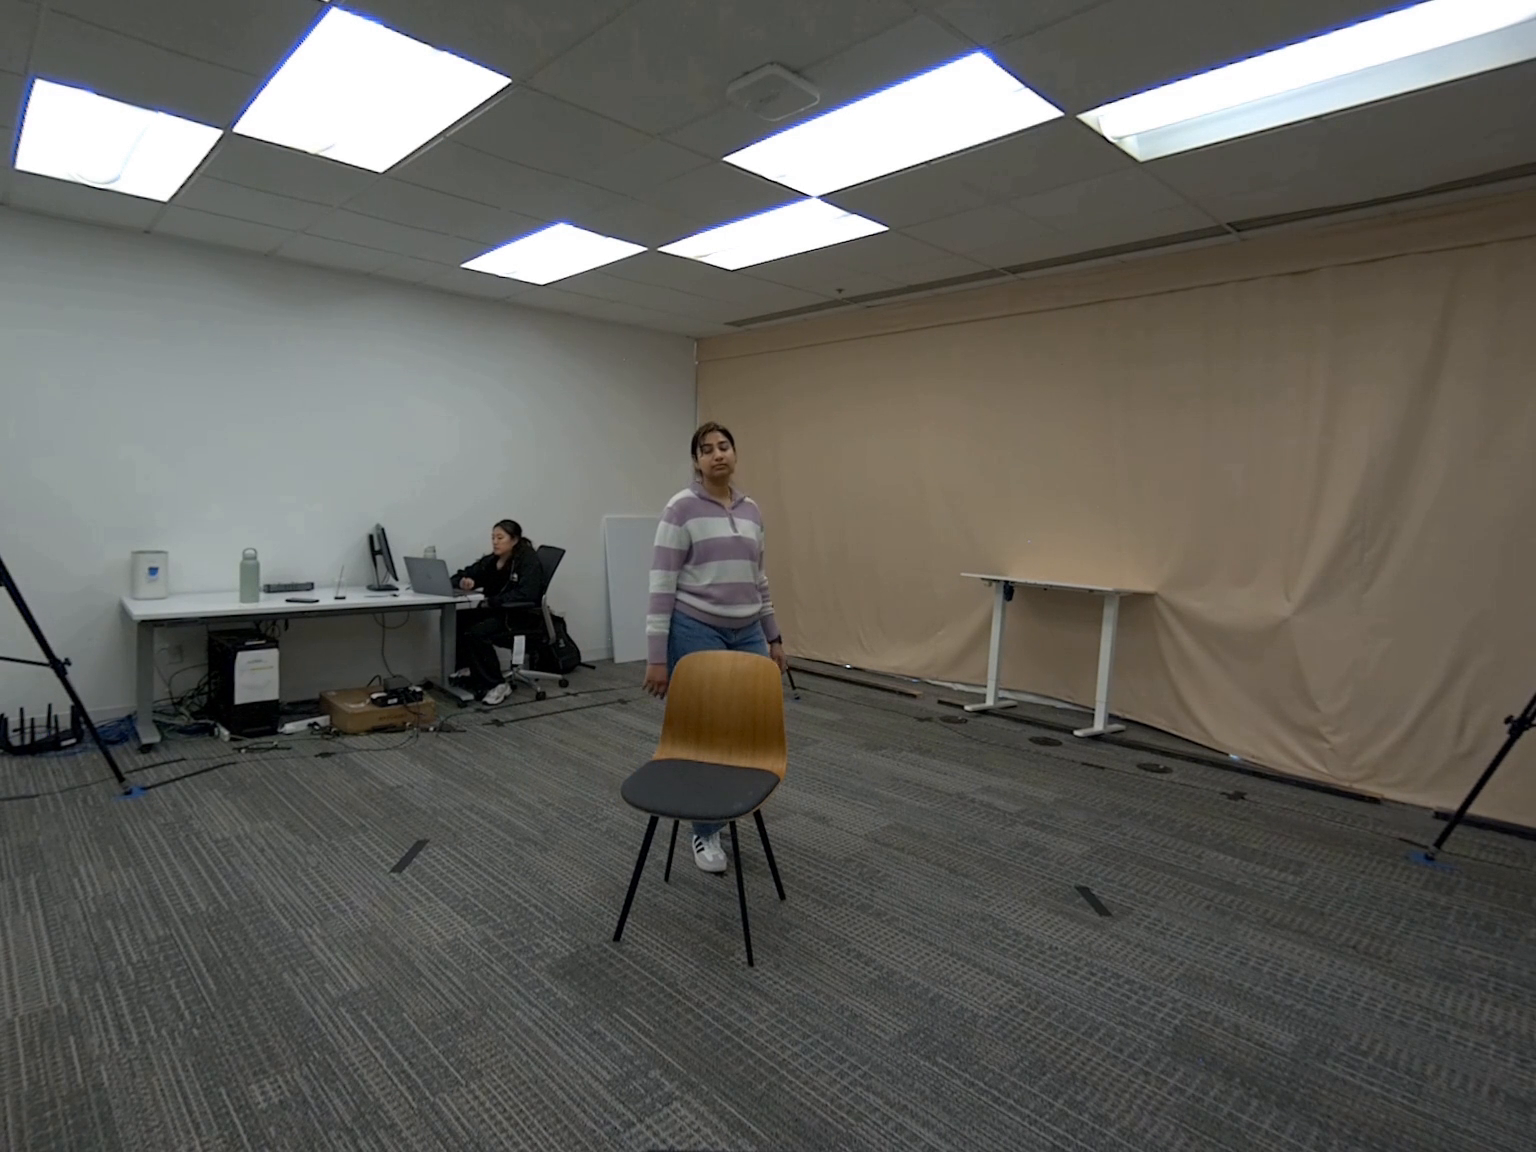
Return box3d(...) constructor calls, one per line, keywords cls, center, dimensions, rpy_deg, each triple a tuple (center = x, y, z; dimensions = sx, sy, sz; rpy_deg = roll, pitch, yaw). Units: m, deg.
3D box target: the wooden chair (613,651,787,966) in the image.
box3d(cls="wooden chair", center=(-0.208, 0.709, 2.730), dimensions=(0.484, 0.878, 0.516), rpy_deg=(2, 0, 16))
